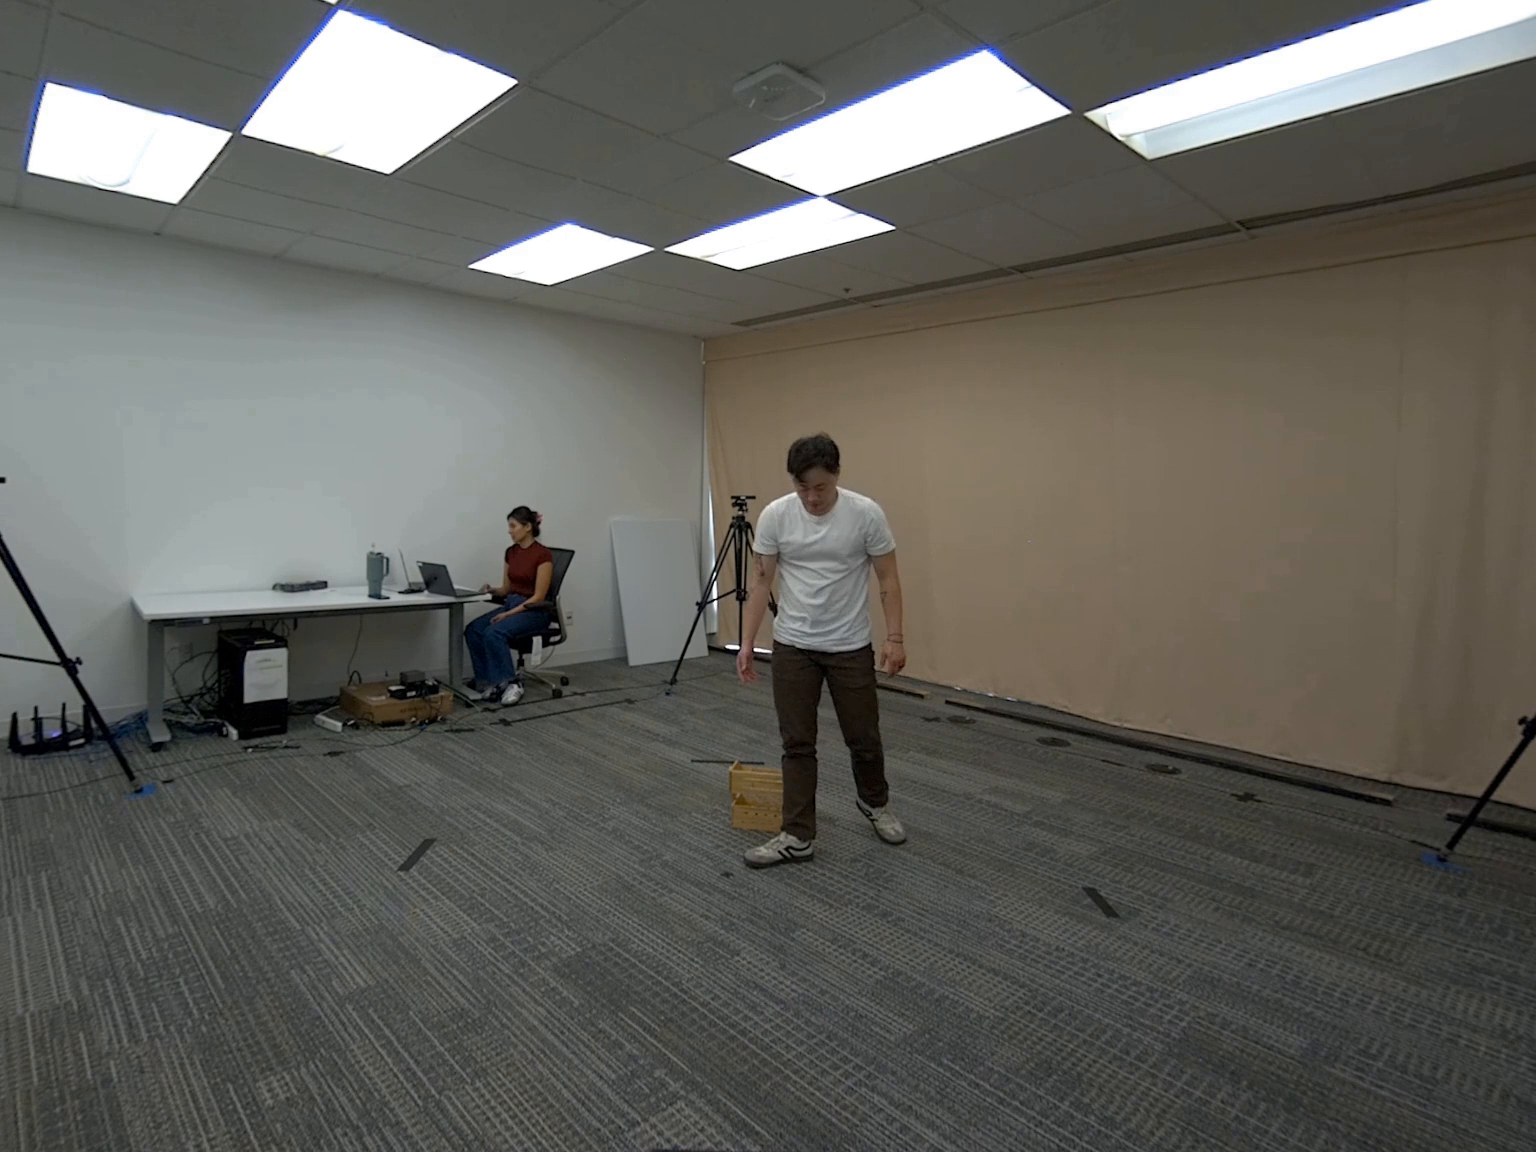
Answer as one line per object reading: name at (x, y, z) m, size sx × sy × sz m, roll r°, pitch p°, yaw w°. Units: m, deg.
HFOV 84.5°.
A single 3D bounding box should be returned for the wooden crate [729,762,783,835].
wooden crate at (0.000, 0.927, 3.626) m, size 0.327 × 0.272 × 0.300 m, roll 3°, pitch 5°, yaw 9°
